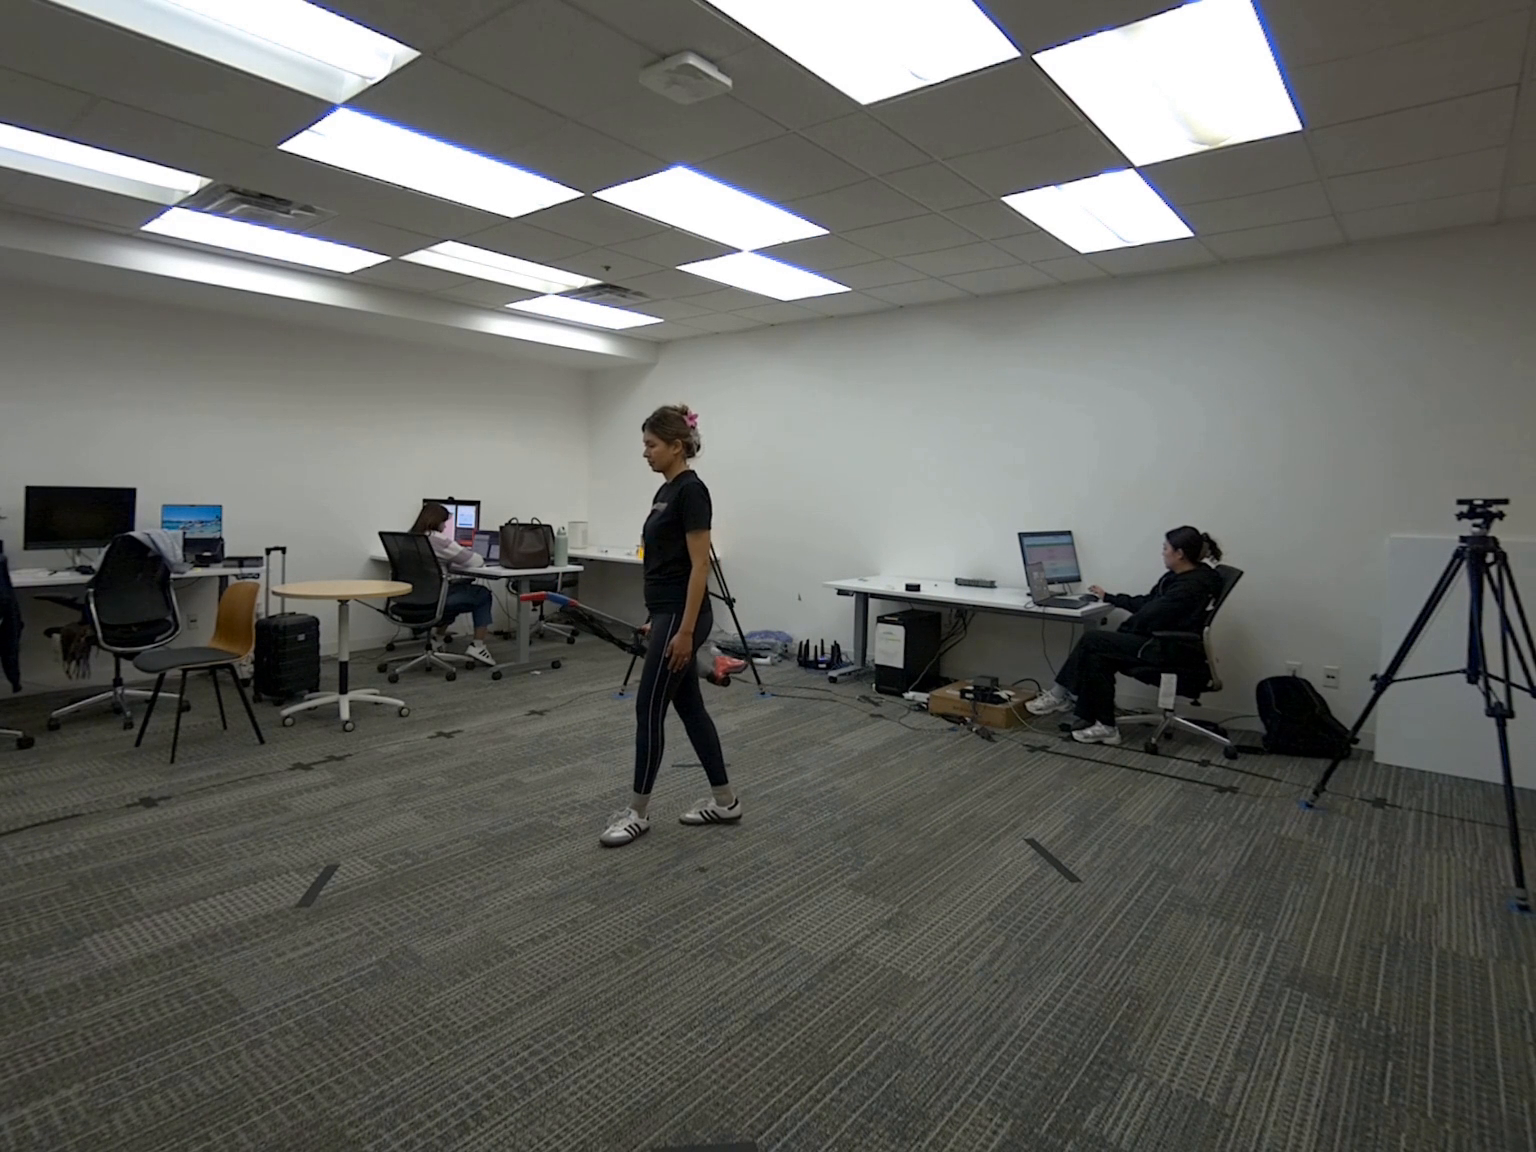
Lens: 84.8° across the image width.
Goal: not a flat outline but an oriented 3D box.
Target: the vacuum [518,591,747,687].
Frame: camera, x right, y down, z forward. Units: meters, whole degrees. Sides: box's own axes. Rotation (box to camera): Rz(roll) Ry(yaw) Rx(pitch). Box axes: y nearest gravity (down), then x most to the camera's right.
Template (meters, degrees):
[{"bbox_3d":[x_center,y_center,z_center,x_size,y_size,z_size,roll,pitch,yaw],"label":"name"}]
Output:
[{"bbox_3d":[-0.611,0.273,3.663,1.014,0.144,0.260,24,-6,-29],"label":"vacuum"}]
